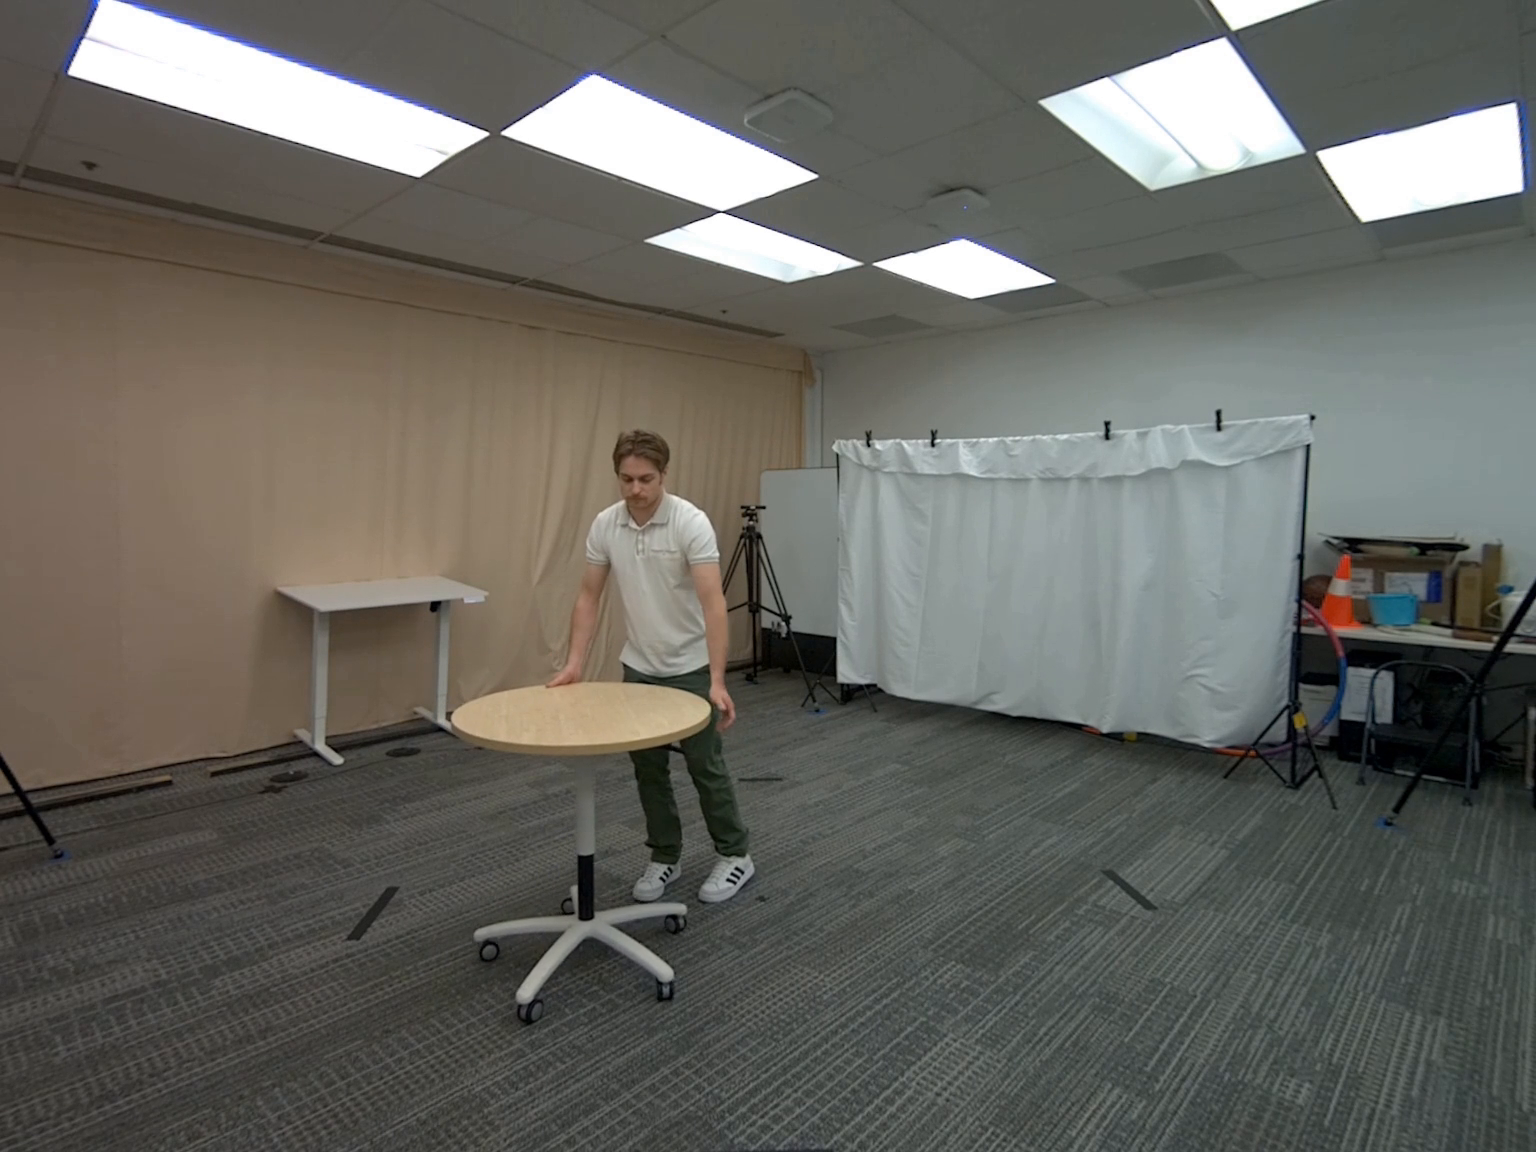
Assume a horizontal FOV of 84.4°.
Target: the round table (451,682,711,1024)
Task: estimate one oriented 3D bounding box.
[{"bbox_3d":[-0.547,0.793,2.558,0.763,0.792,0.766,0,4,-2],"label":"round table"}]
